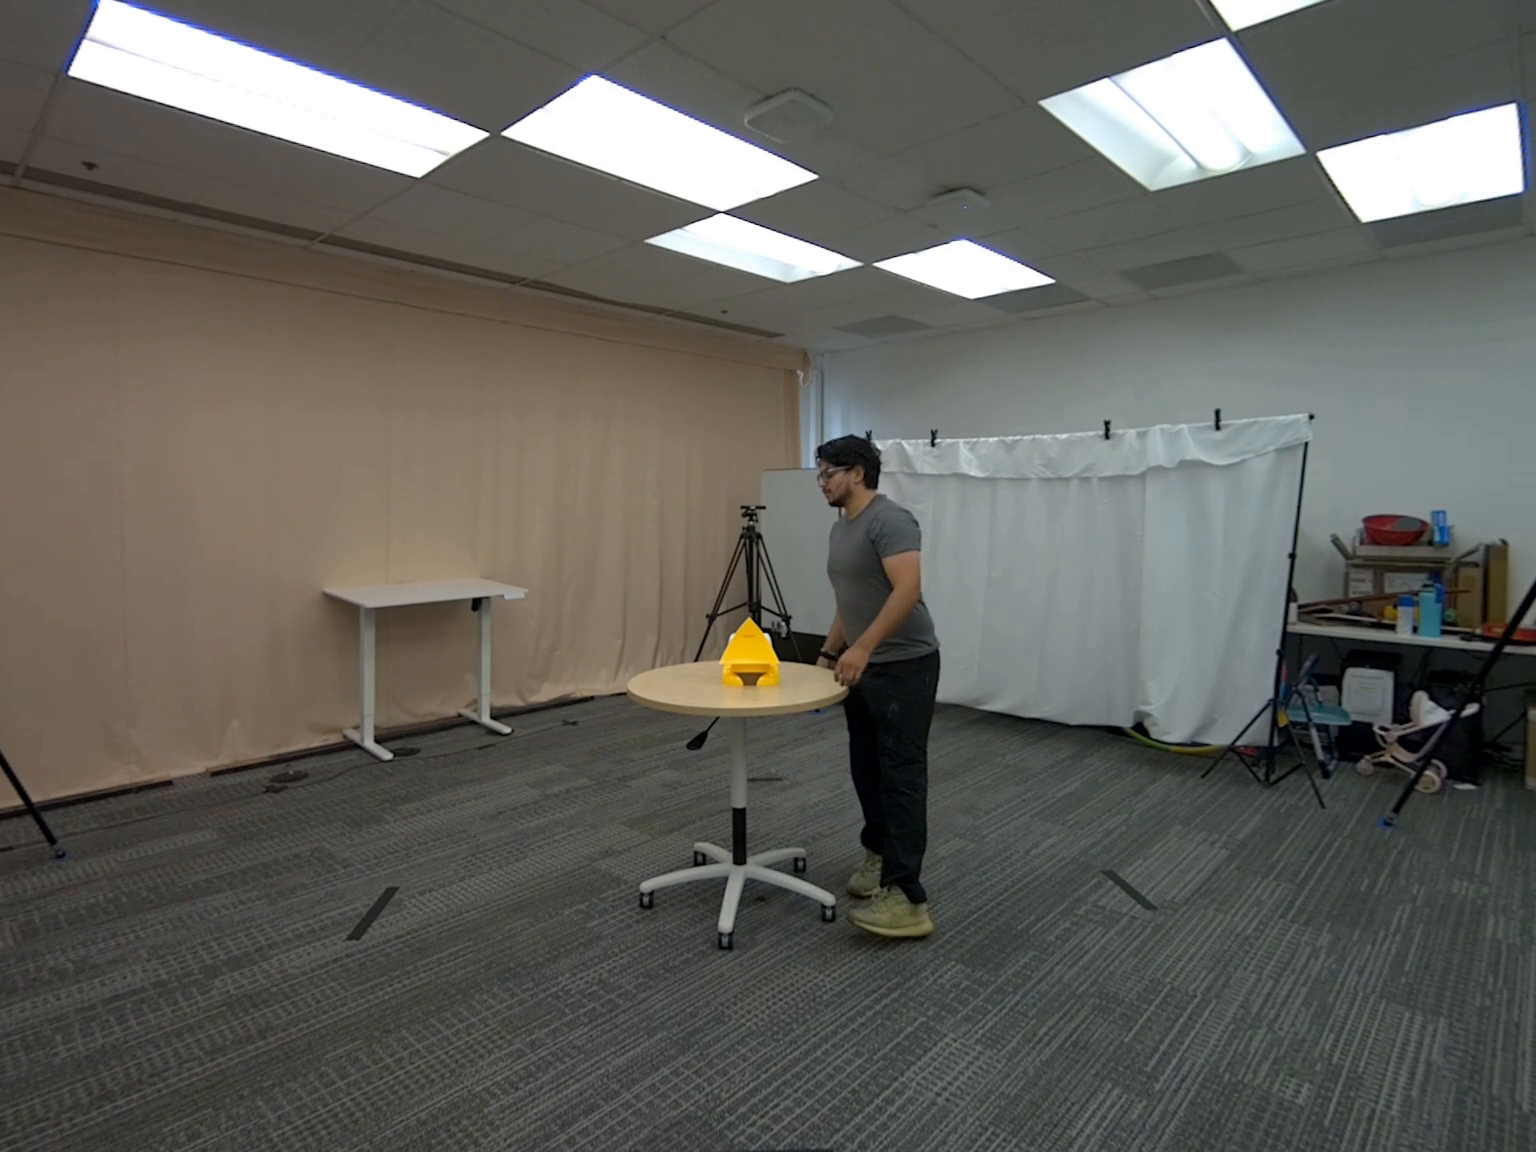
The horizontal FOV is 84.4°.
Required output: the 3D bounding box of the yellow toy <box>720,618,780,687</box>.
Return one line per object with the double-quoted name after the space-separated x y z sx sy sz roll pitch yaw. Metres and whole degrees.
-0.060 0.252 2.909 0.206 0.230 0.193 -1 4 3 "yellow toy"
